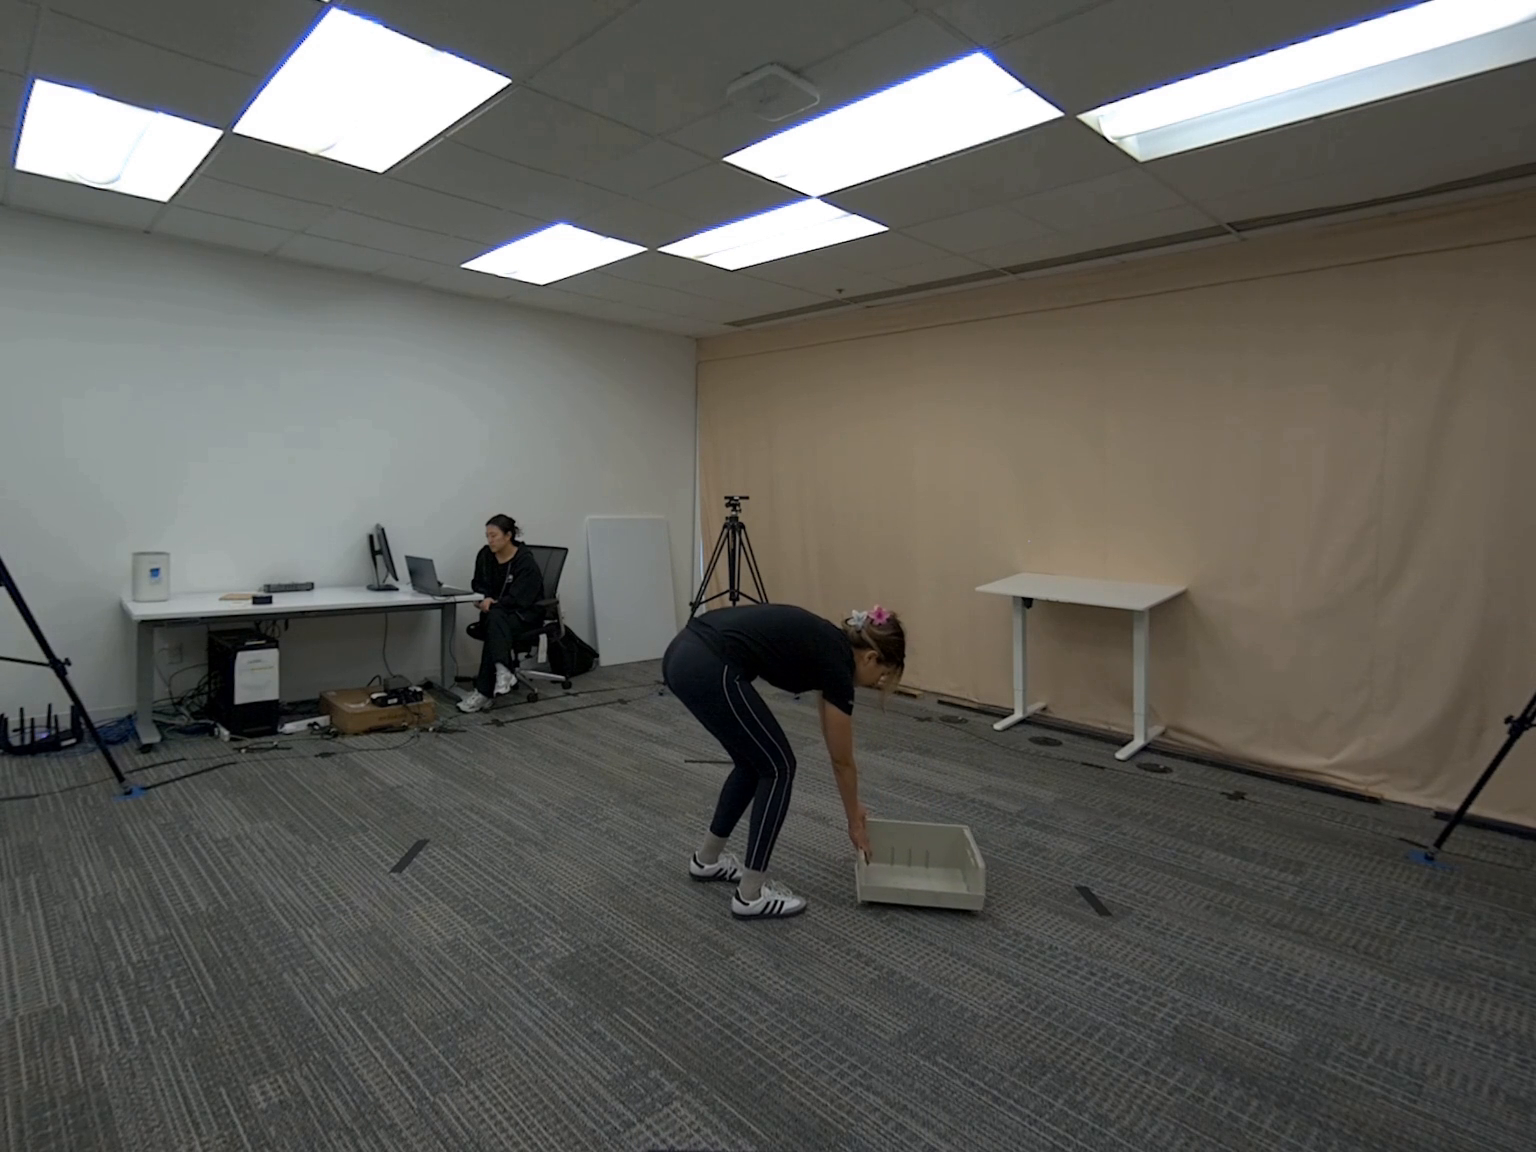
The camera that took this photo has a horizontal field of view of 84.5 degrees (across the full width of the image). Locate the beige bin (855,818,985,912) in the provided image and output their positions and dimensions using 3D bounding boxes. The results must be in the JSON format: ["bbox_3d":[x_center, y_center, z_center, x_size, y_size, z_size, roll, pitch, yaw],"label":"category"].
[{"bbox_3d":[0.524,1.037,3.019,0.424,0.188,0.377,1,4,4],"label":"beige bin"}]
